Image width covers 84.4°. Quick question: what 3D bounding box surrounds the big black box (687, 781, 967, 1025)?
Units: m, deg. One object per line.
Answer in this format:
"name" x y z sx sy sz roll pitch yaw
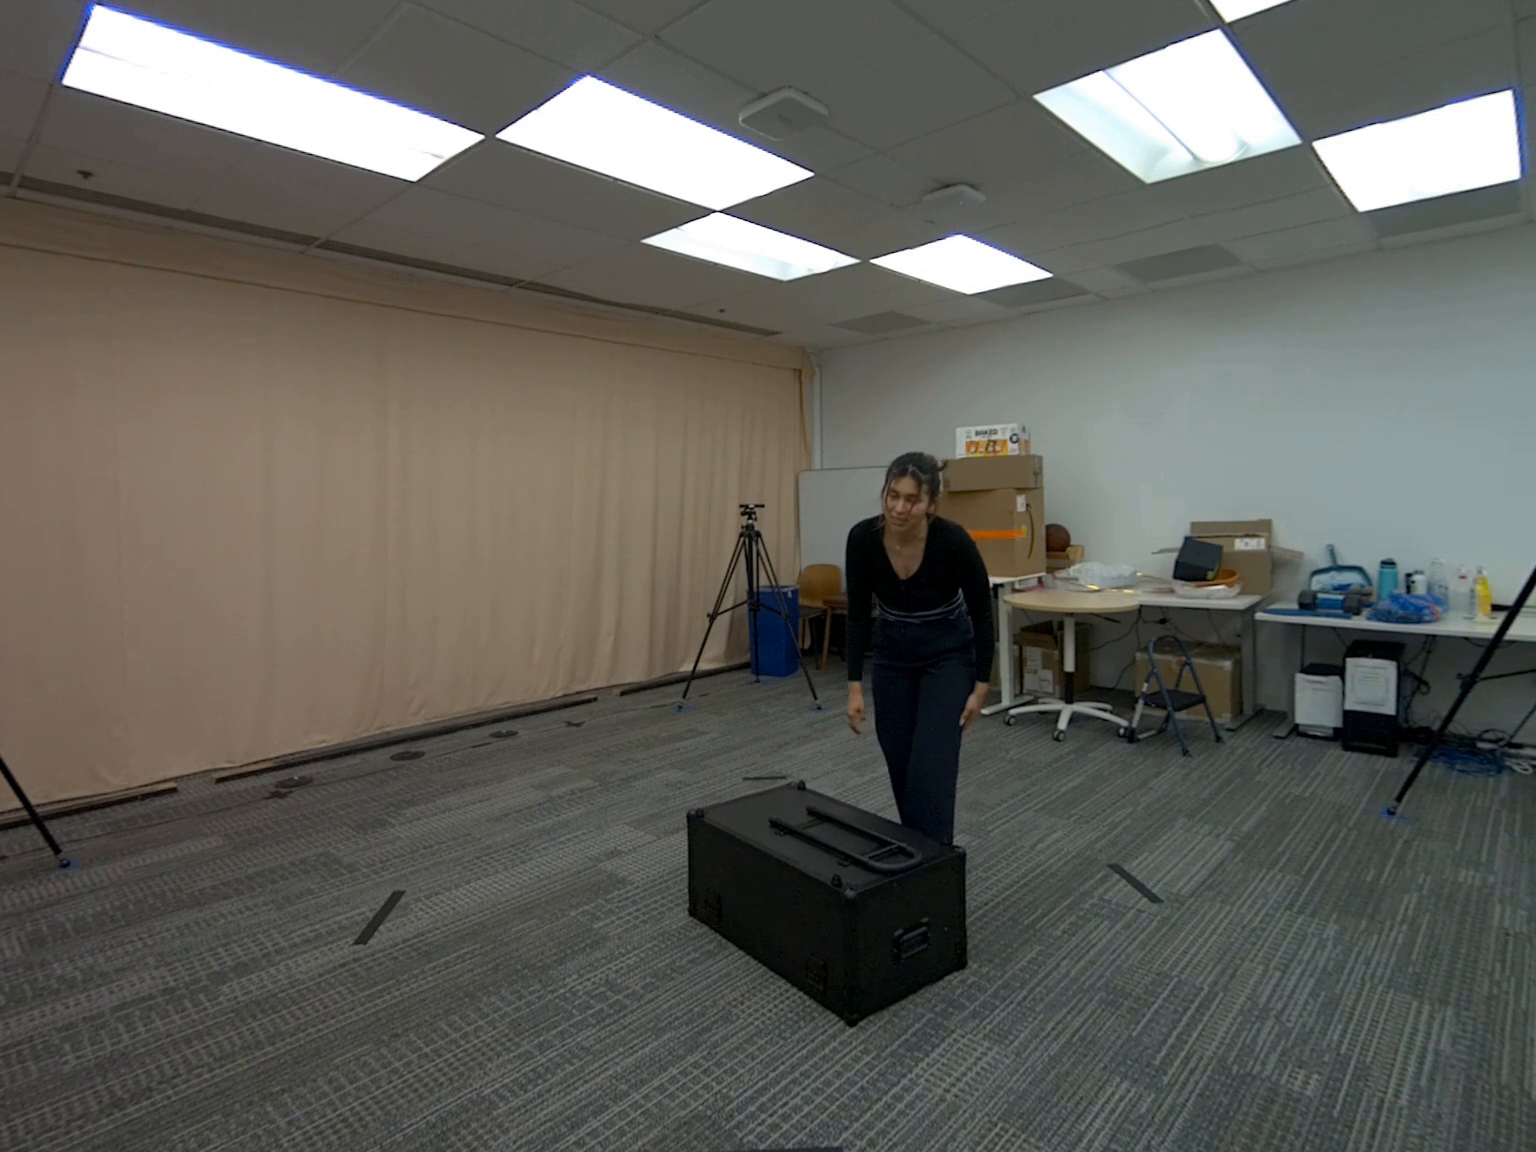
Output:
"big black box" 0.179 0.989 2.655 0.506 0.395 0.889 -4 5 -38
